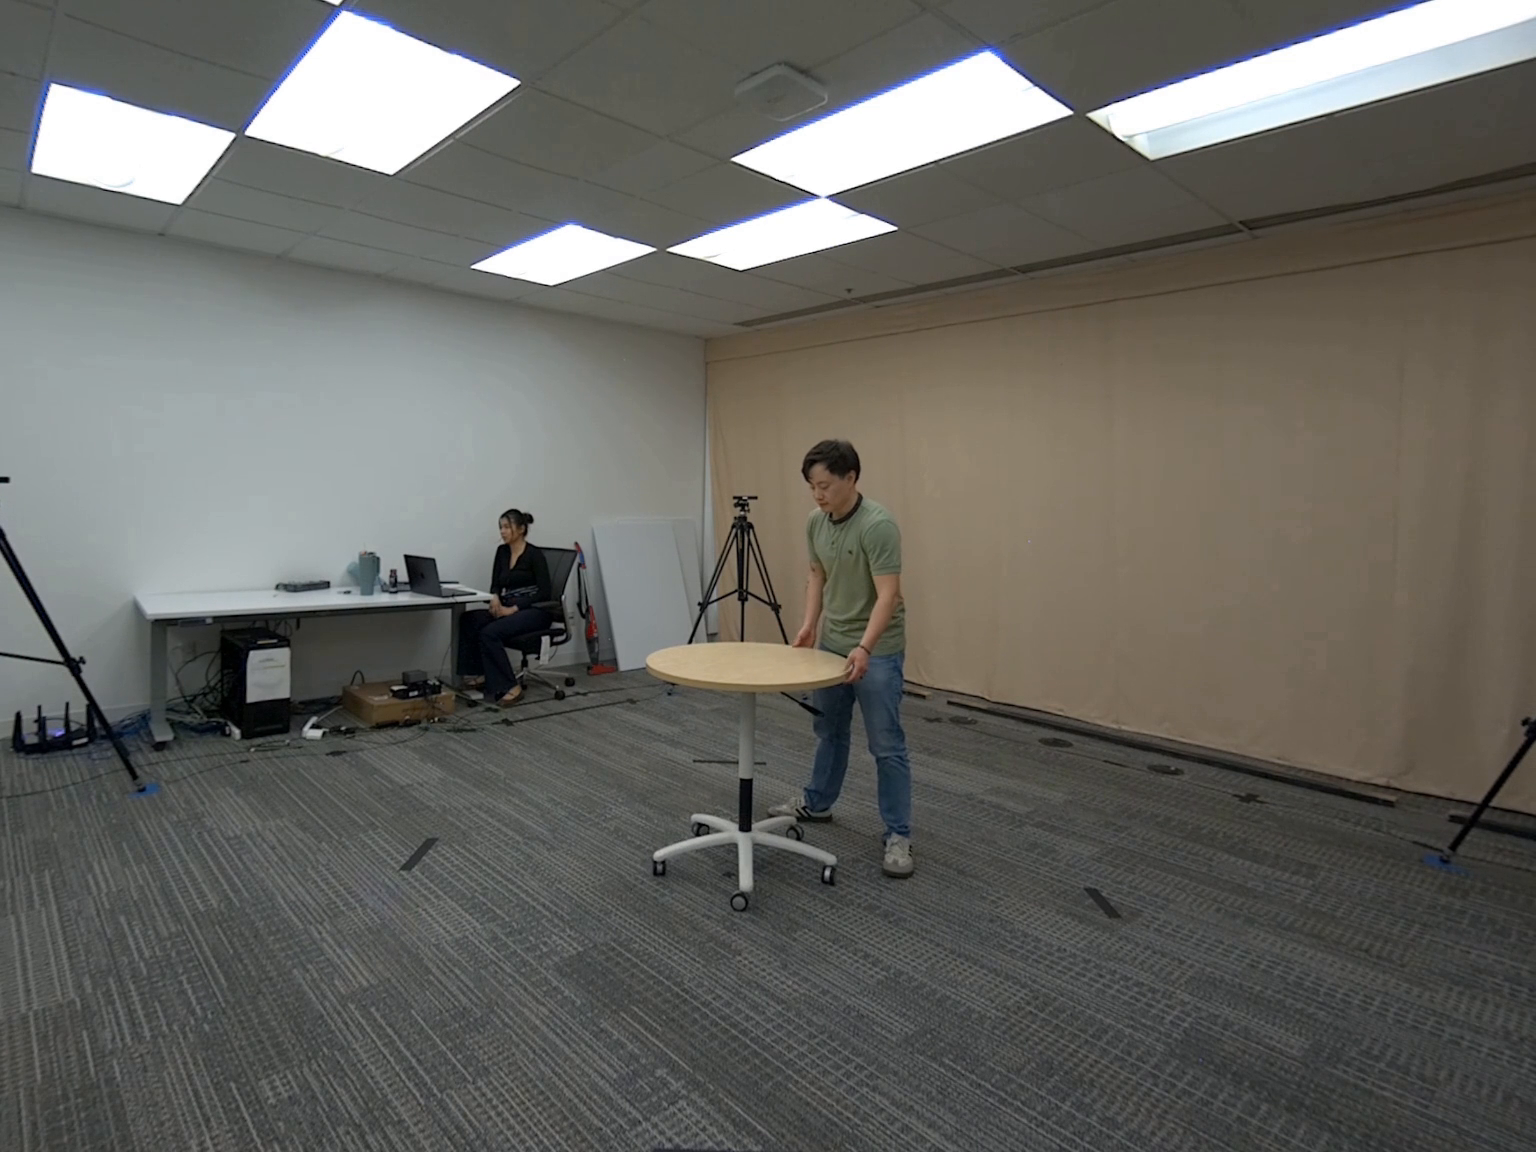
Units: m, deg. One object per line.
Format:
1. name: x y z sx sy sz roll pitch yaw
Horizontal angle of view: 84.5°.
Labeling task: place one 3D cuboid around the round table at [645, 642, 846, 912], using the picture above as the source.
1. round table: -0.083 0.711 3.147 0.763 0.792 0.767 2 4 -1
